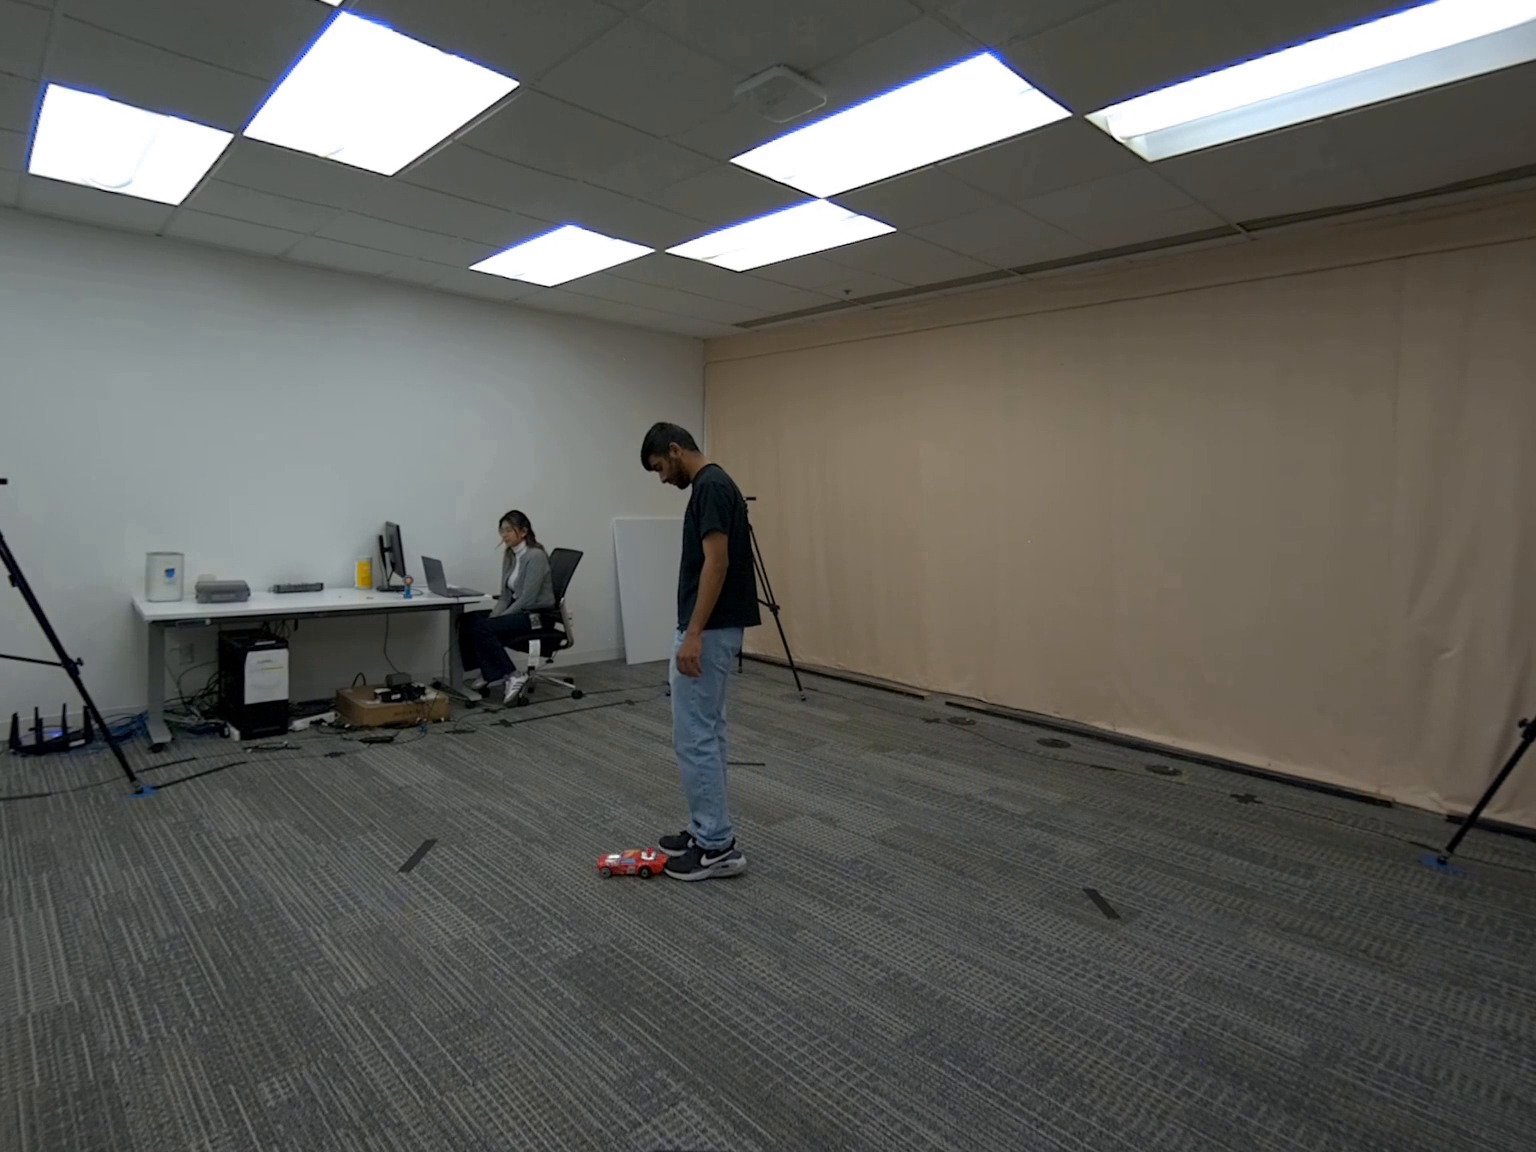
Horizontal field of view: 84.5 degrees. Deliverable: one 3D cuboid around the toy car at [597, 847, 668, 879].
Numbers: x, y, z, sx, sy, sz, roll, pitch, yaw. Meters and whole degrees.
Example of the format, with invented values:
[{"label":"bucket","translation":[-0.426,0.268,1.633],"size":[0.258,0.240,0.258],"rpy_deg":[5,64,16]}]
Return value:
[{"label":"toy car","translation":[-0.502,1.059,3.113],"size":[0.255,0.083,0.130],"rpy_deg":[-10,4,3]}]
